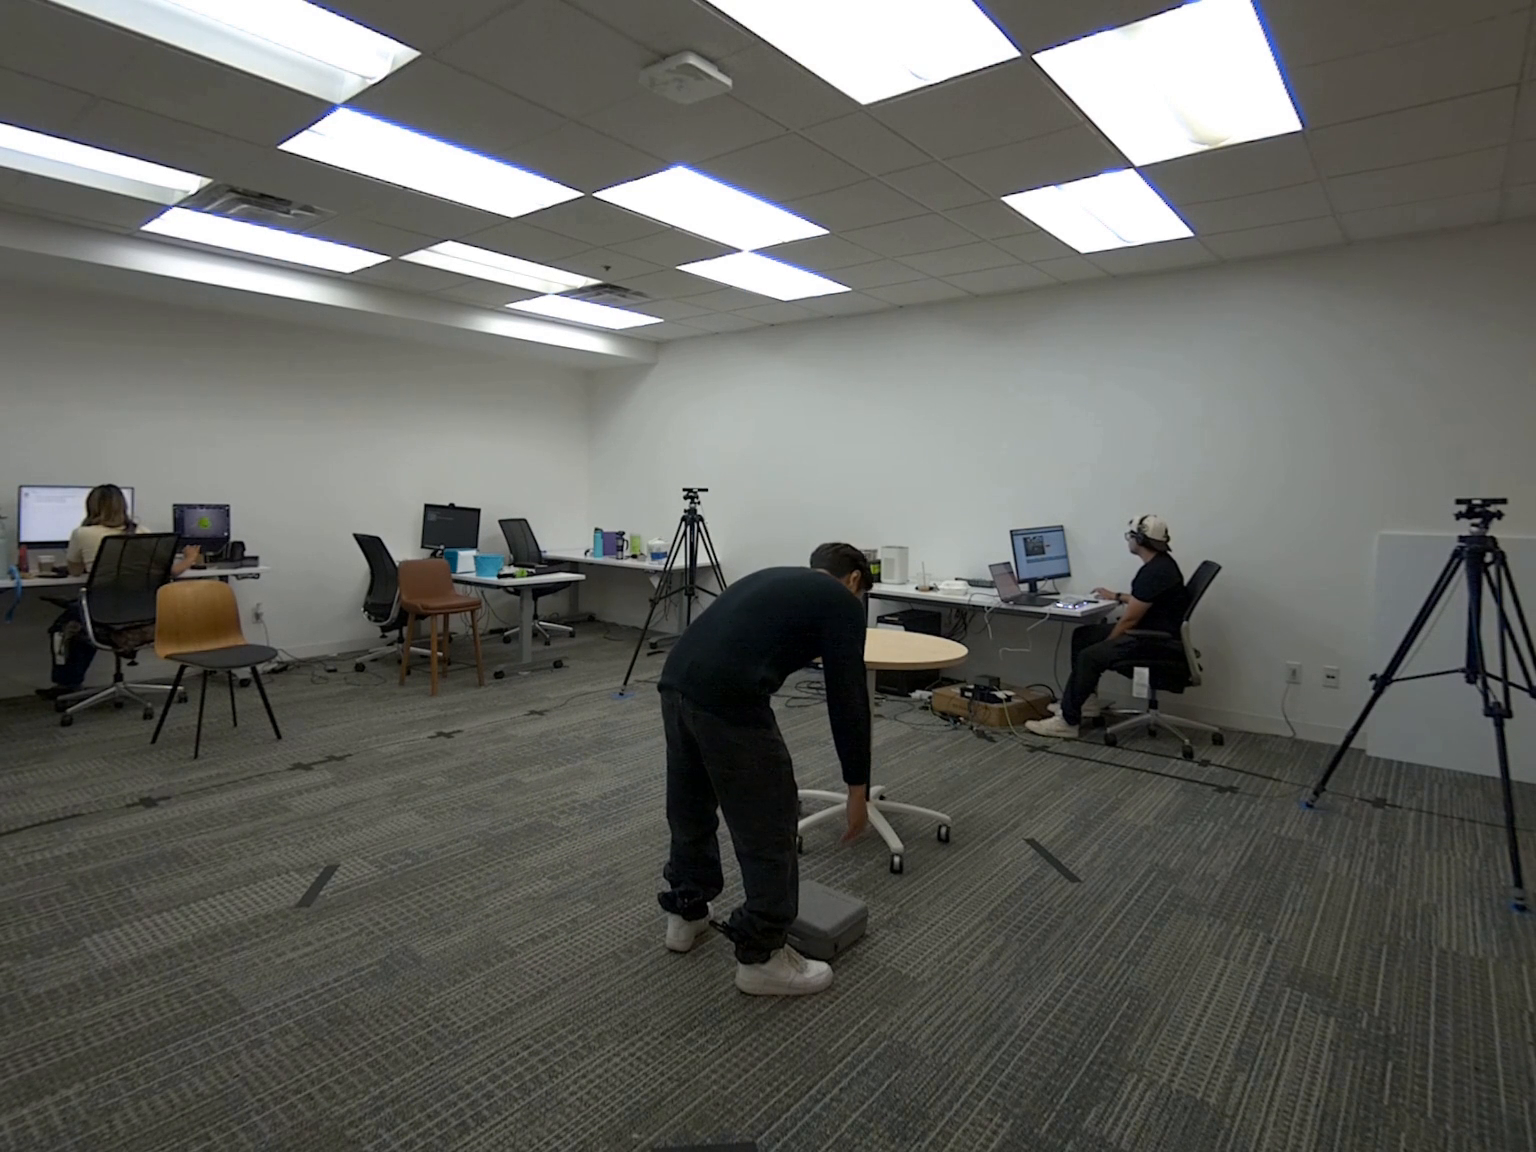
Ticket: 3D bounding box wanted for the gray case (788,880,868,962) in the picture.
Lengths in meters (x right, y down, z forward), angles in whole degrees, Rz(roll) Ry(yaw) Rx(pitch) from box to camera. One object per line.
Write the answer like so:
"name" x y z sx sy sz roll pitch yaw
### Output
"gray case" 0.145 1.068 2.659 0.266 0.104 0.253 7 8 38
